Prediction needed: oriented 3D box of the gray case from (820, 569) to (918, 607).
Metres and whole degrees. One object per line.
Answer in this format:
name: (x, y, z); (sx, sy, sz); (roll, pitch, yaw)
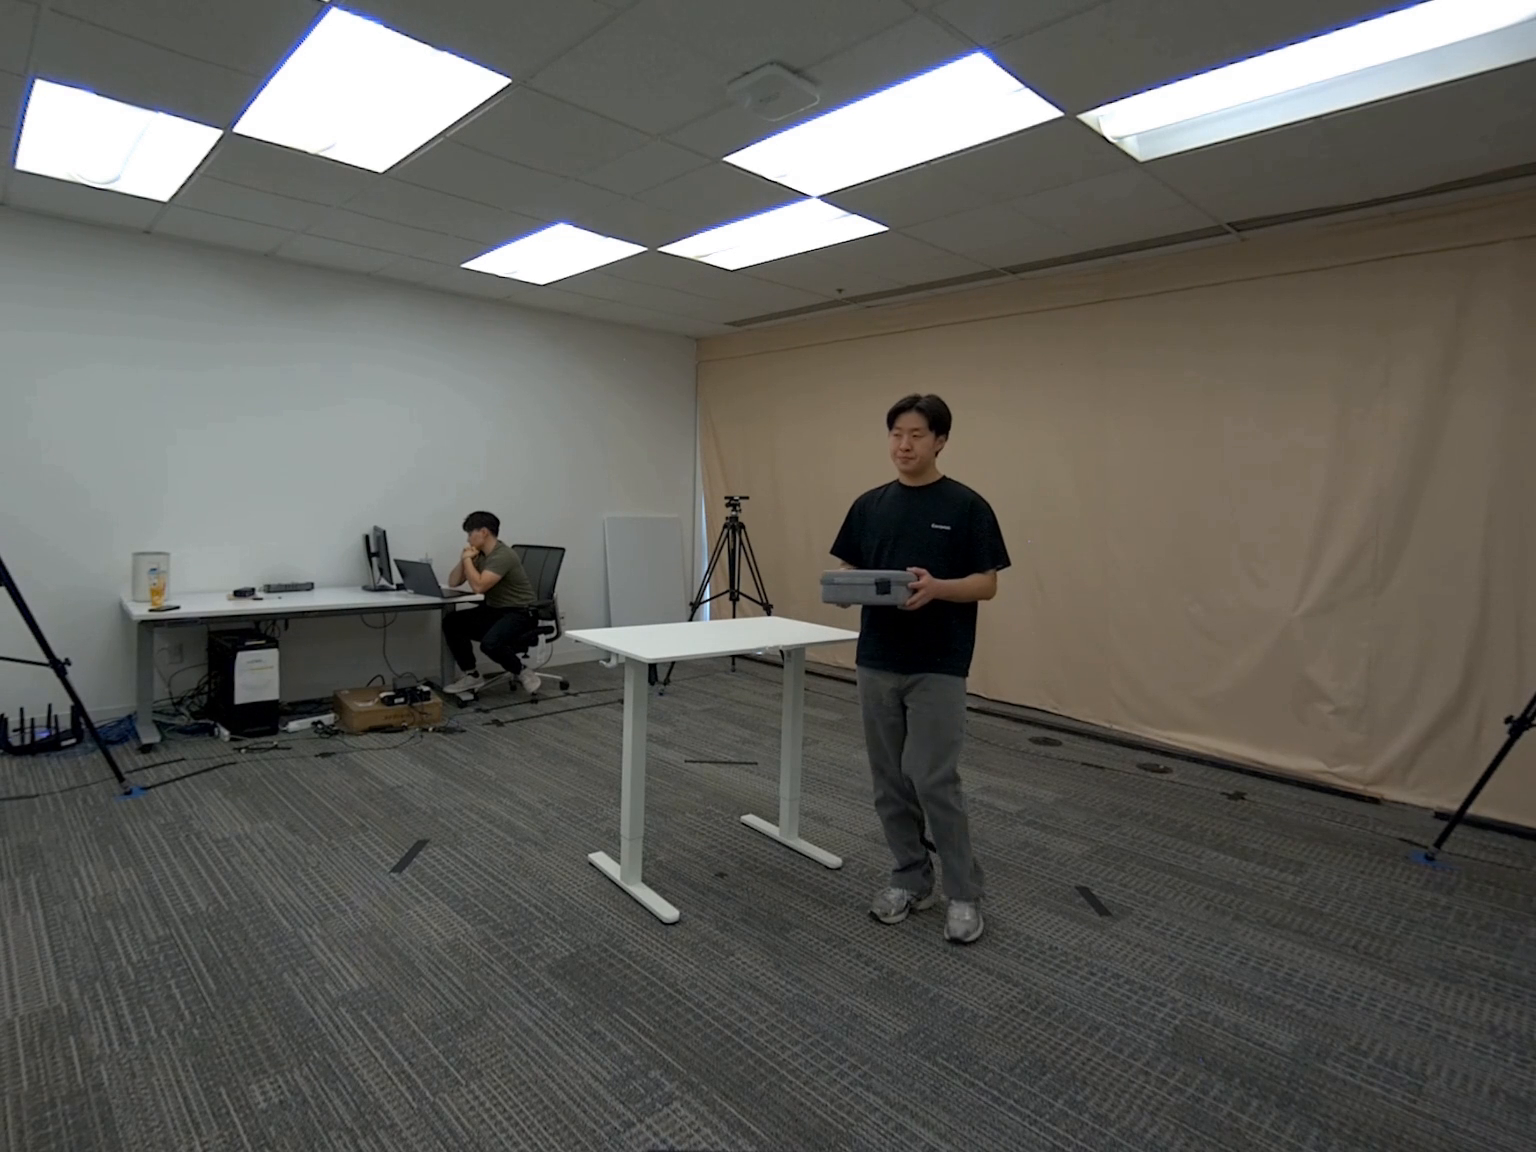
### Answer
gray case: (0.322, 0.040, 2.584); (0.266, 0.103, 0.284); (1, 0, 12)
